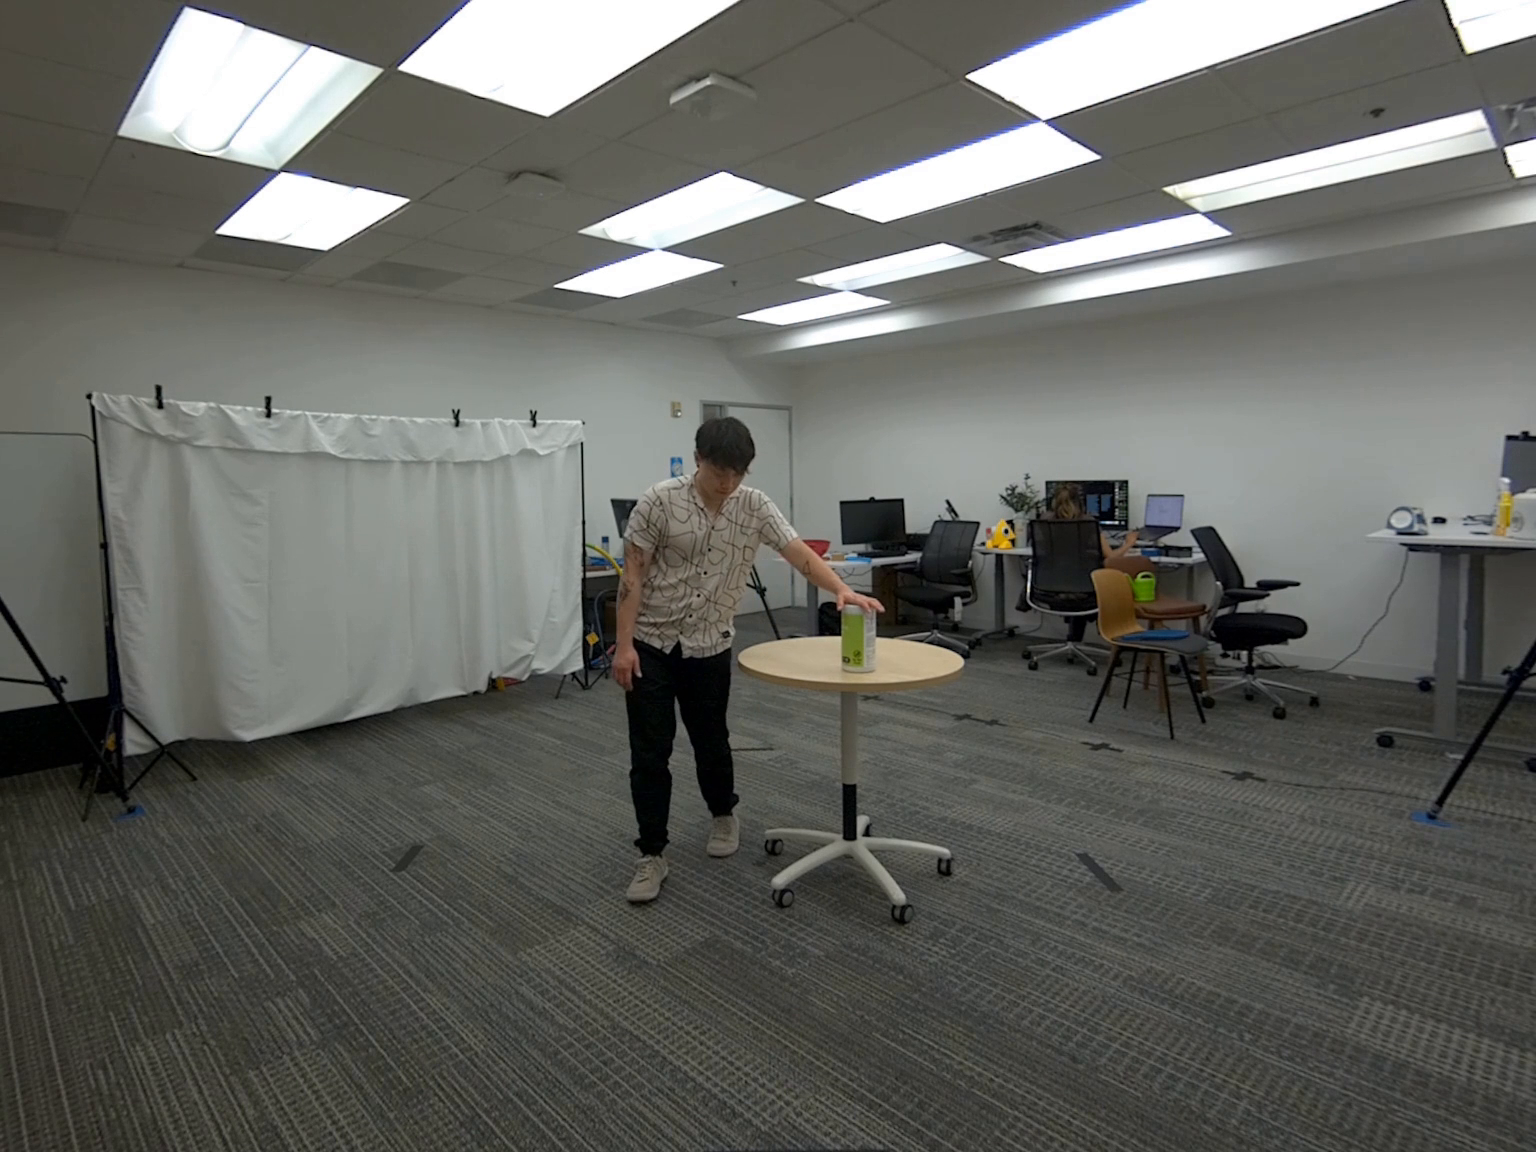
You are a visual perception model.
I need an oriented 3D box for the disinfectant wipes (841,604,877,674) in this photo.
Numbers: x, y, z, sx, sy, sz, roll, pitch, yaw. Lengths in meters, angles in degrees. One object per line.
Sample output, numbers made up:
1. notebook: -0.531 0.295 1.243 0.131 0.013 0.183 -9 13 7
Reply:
1. disinfectant wipes: 0.296 0.196 2.738 0.118 0.216 0.118 -1 4 -2
